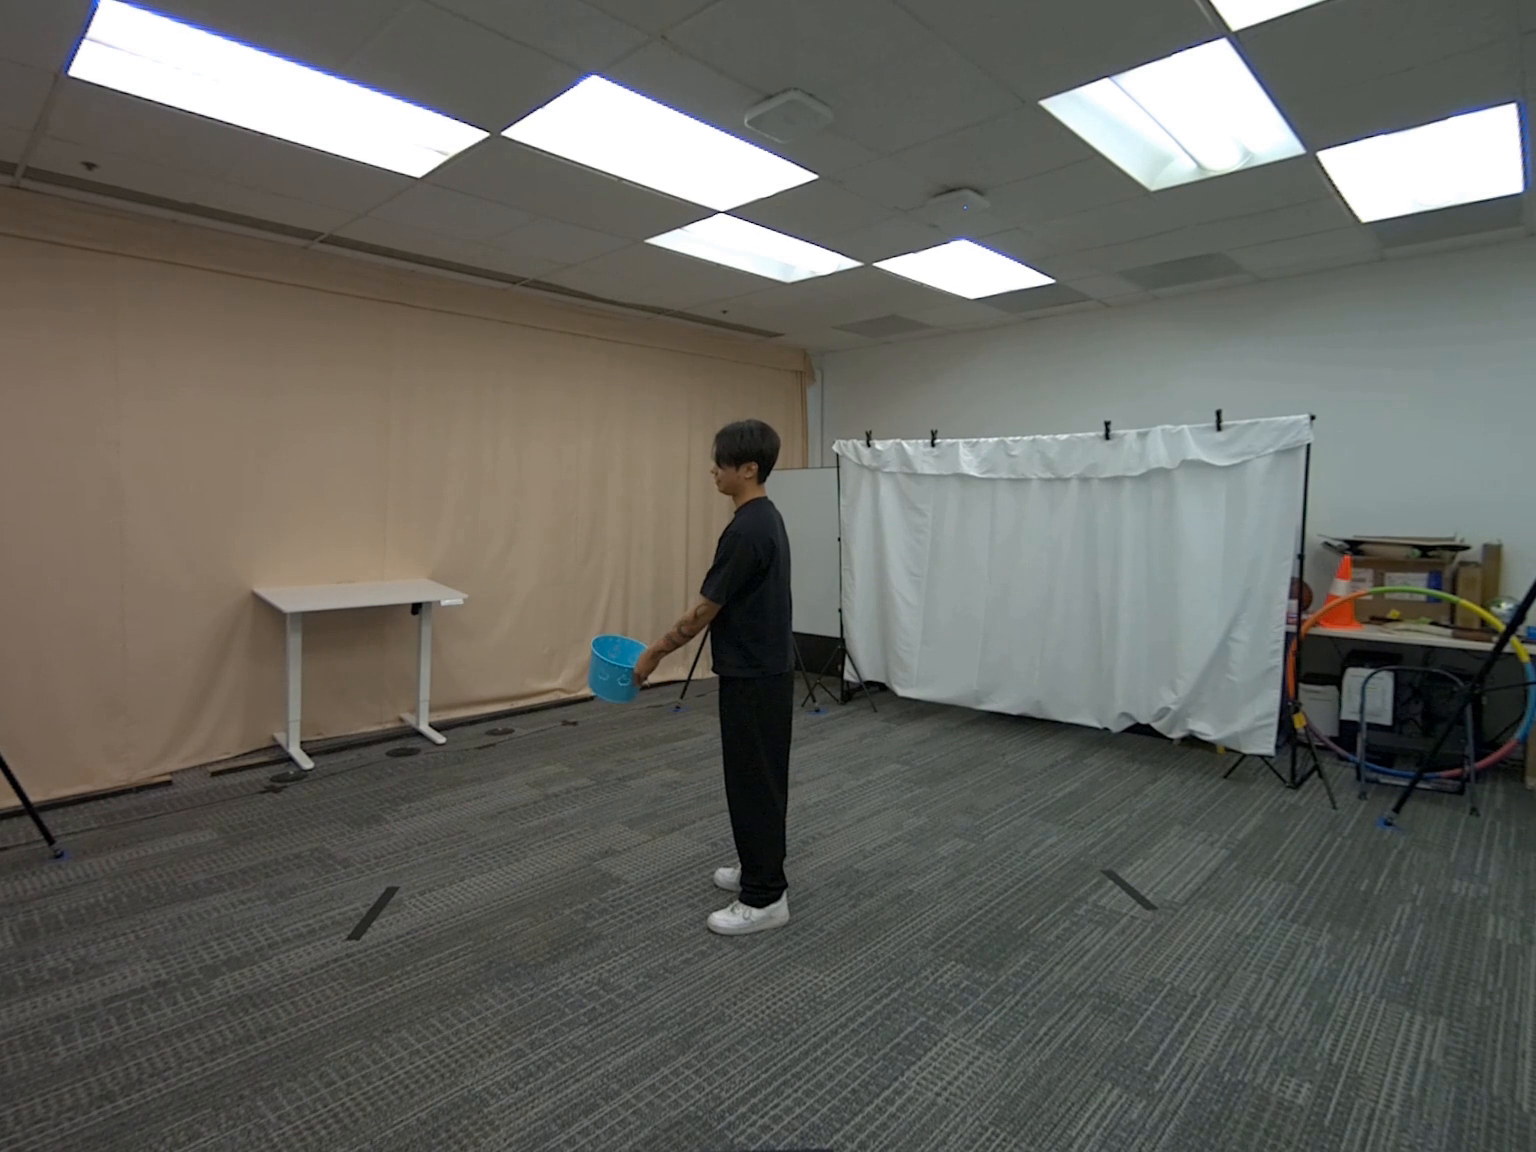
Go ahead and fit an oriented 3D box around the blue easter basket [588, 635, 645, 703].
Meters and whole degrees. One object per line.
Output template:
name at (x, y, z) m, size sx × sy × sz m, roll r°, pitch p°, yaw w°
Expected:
blue easter basket at (-0.496, 0.351, 2.928) m, size 0.242 × 0.155 × 0.247 m, roll 15°, pitch 19°, yaw -7°
